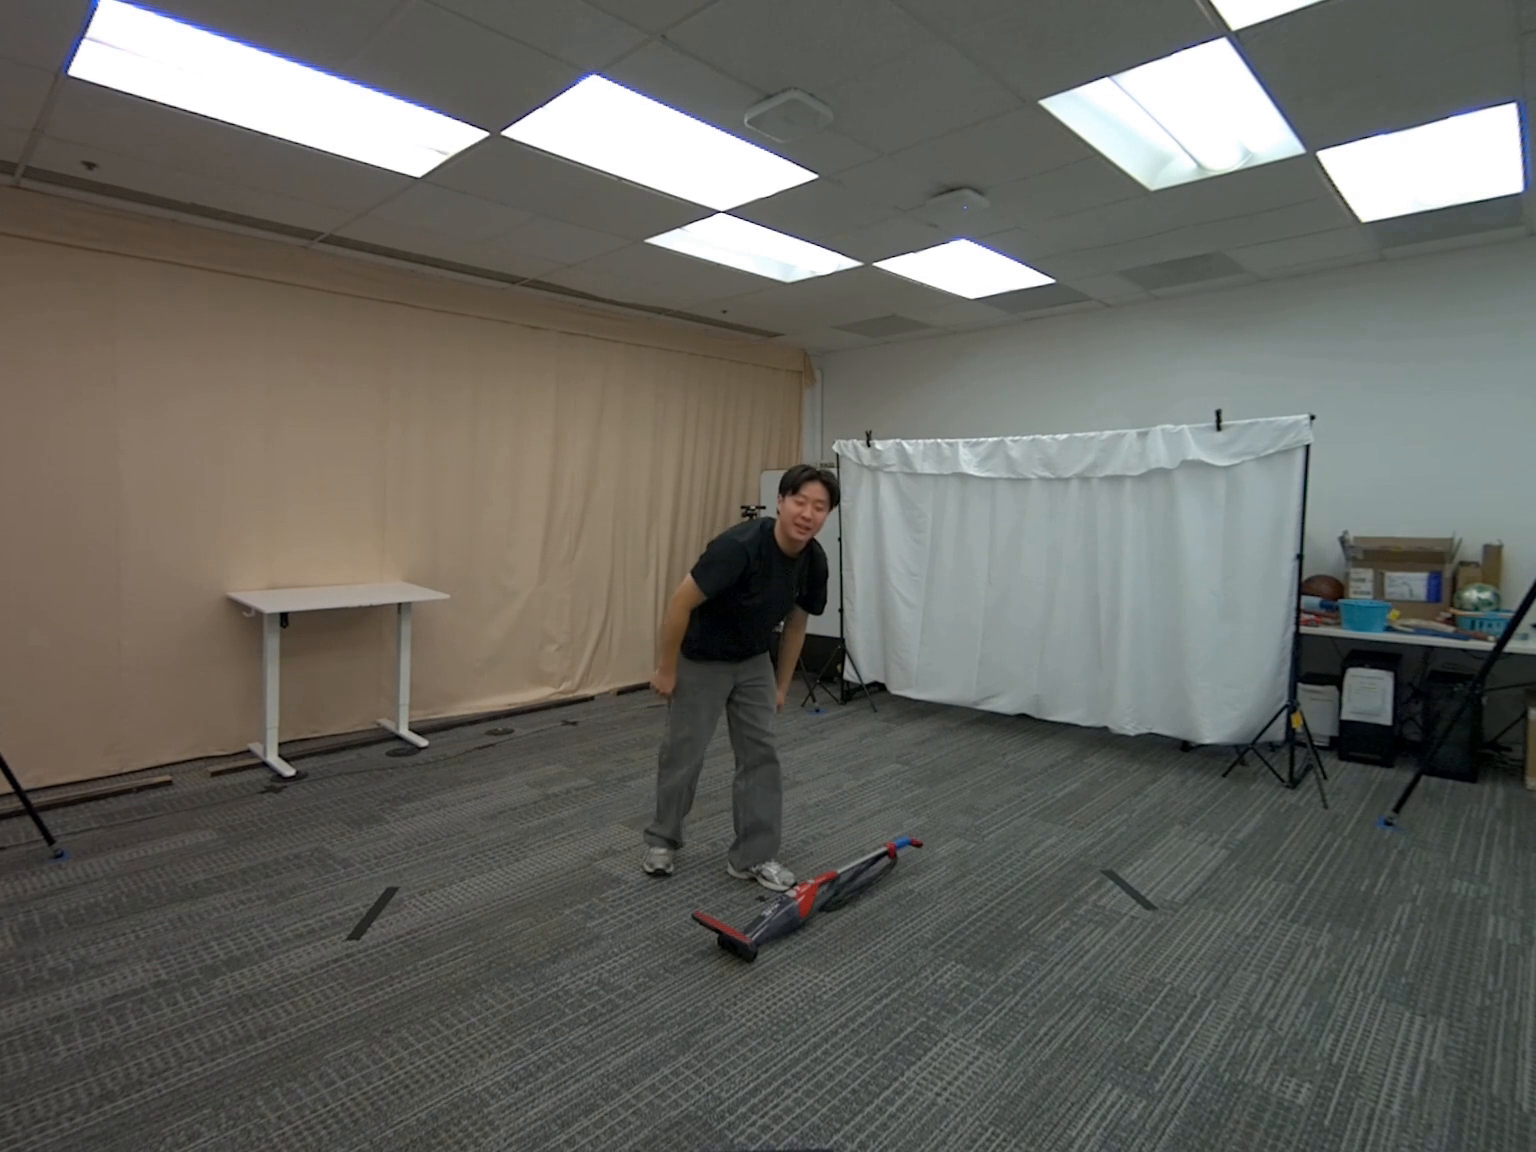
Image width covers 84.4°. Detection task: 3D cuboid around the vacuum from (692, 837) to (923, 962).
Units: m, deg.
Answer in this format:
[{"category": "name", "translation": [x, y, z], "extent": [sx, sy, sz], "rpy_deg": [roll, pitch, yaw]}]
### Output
[{"category": "vacuum", "translation": [0.237, 1.088, 2.935], "extent": [1.017, 0.144, 0.261], "rpy_deg": [-4, 3, -43]}]
